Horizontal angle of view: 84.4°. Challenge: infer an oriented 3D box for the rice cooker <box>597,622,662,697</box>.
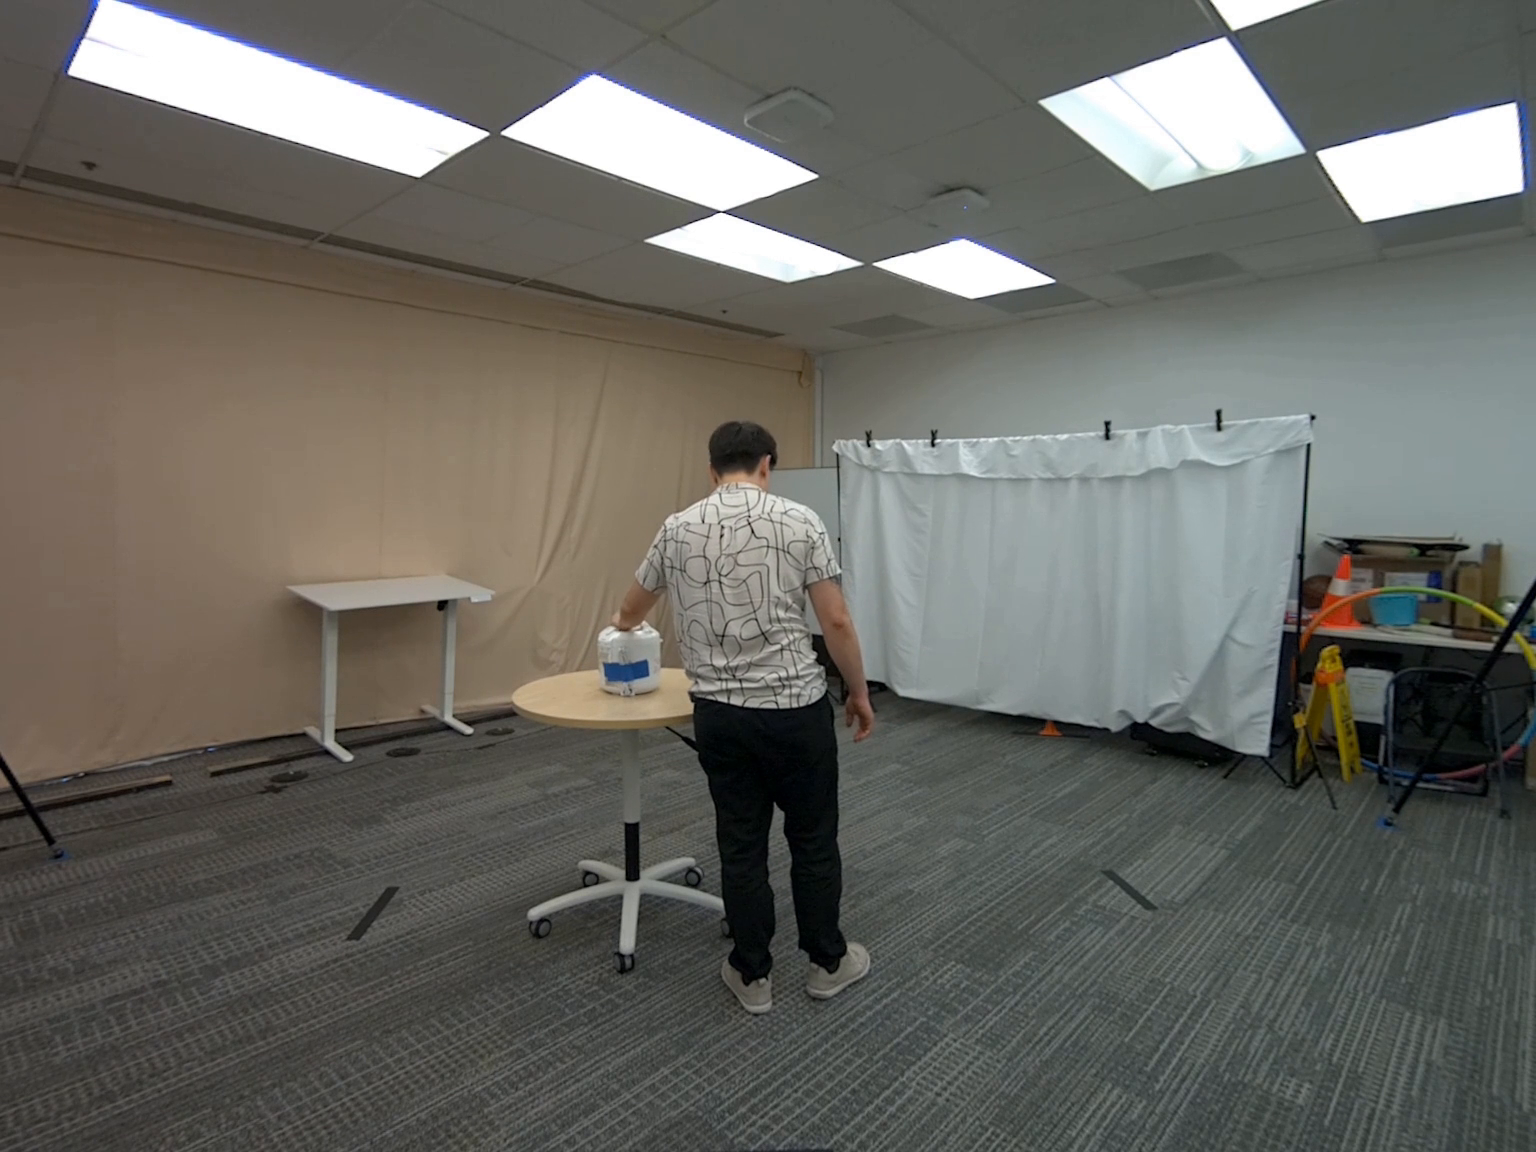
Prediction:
[{"bbox_3d":[-0.466,0.266,2.804,0.214,0.232,0.225,-4,6,-44],"label":"rice cooker"}]
